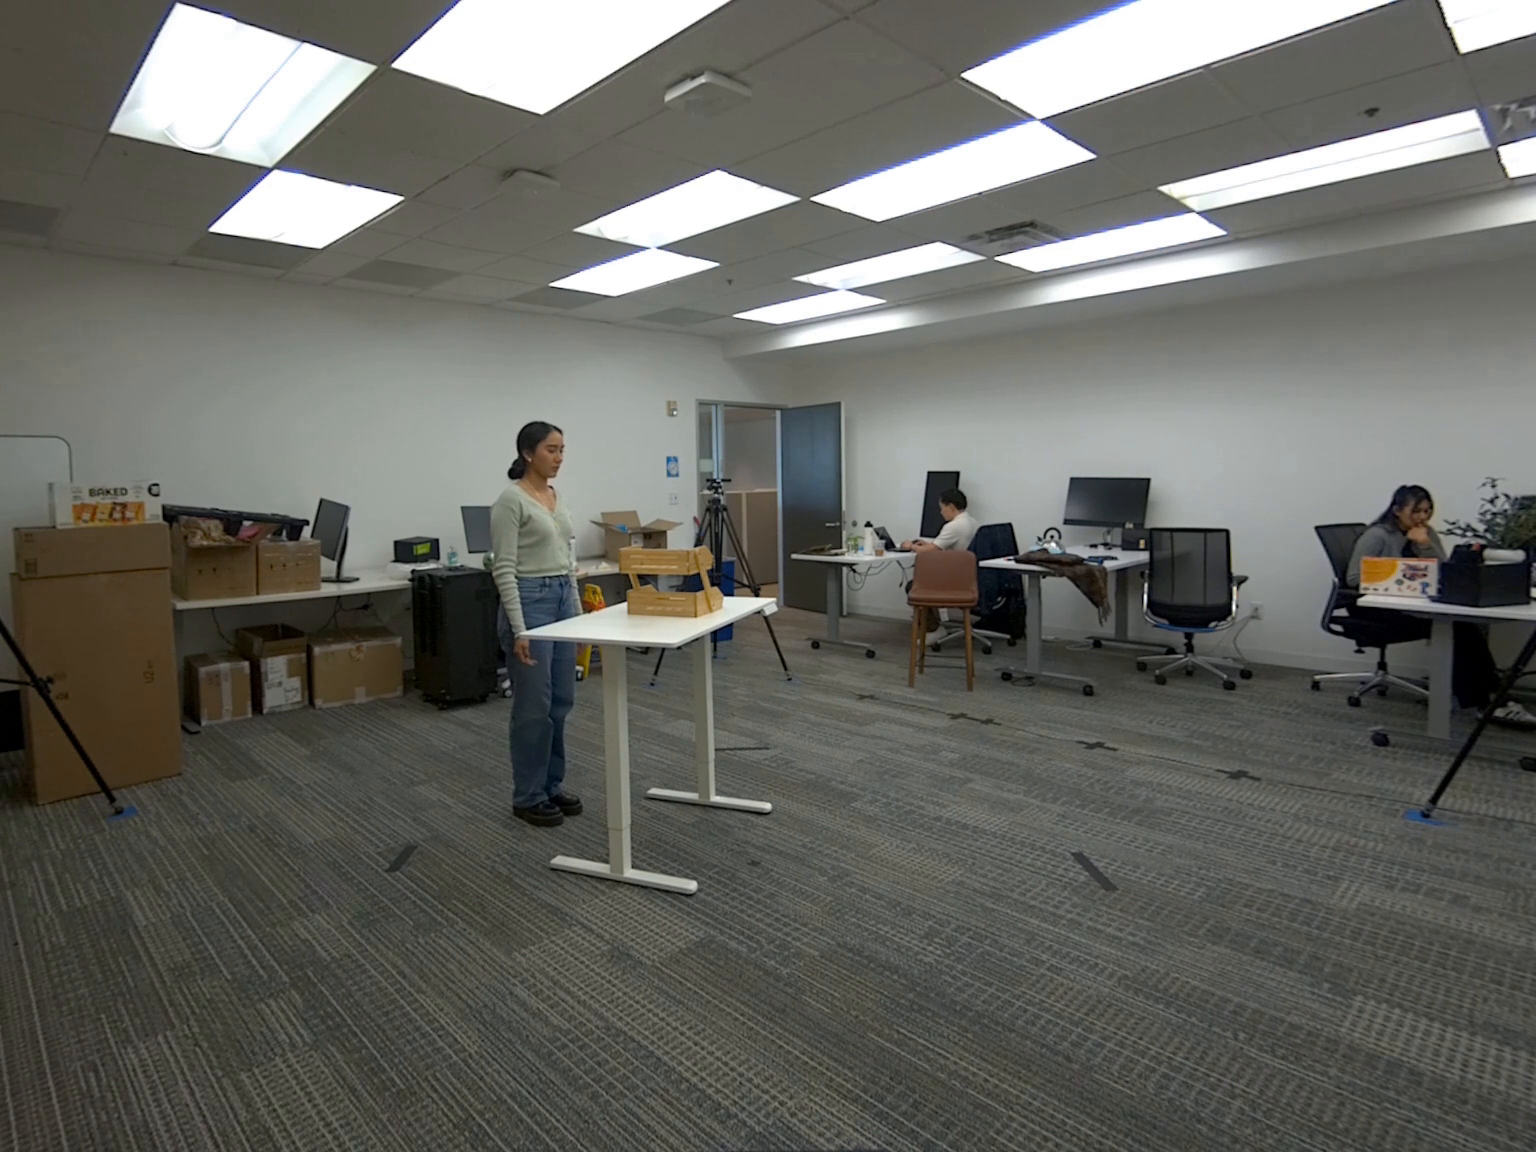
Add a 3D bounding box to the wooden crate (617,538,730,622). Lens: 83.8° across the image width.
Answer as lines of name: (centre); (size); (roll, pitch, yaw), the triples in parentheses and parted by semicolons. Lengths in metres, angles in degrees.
wooden crate: (-0.364, 0.004, 3.332); (0.331, 0.272, 0.298); (1, 7, 21)
